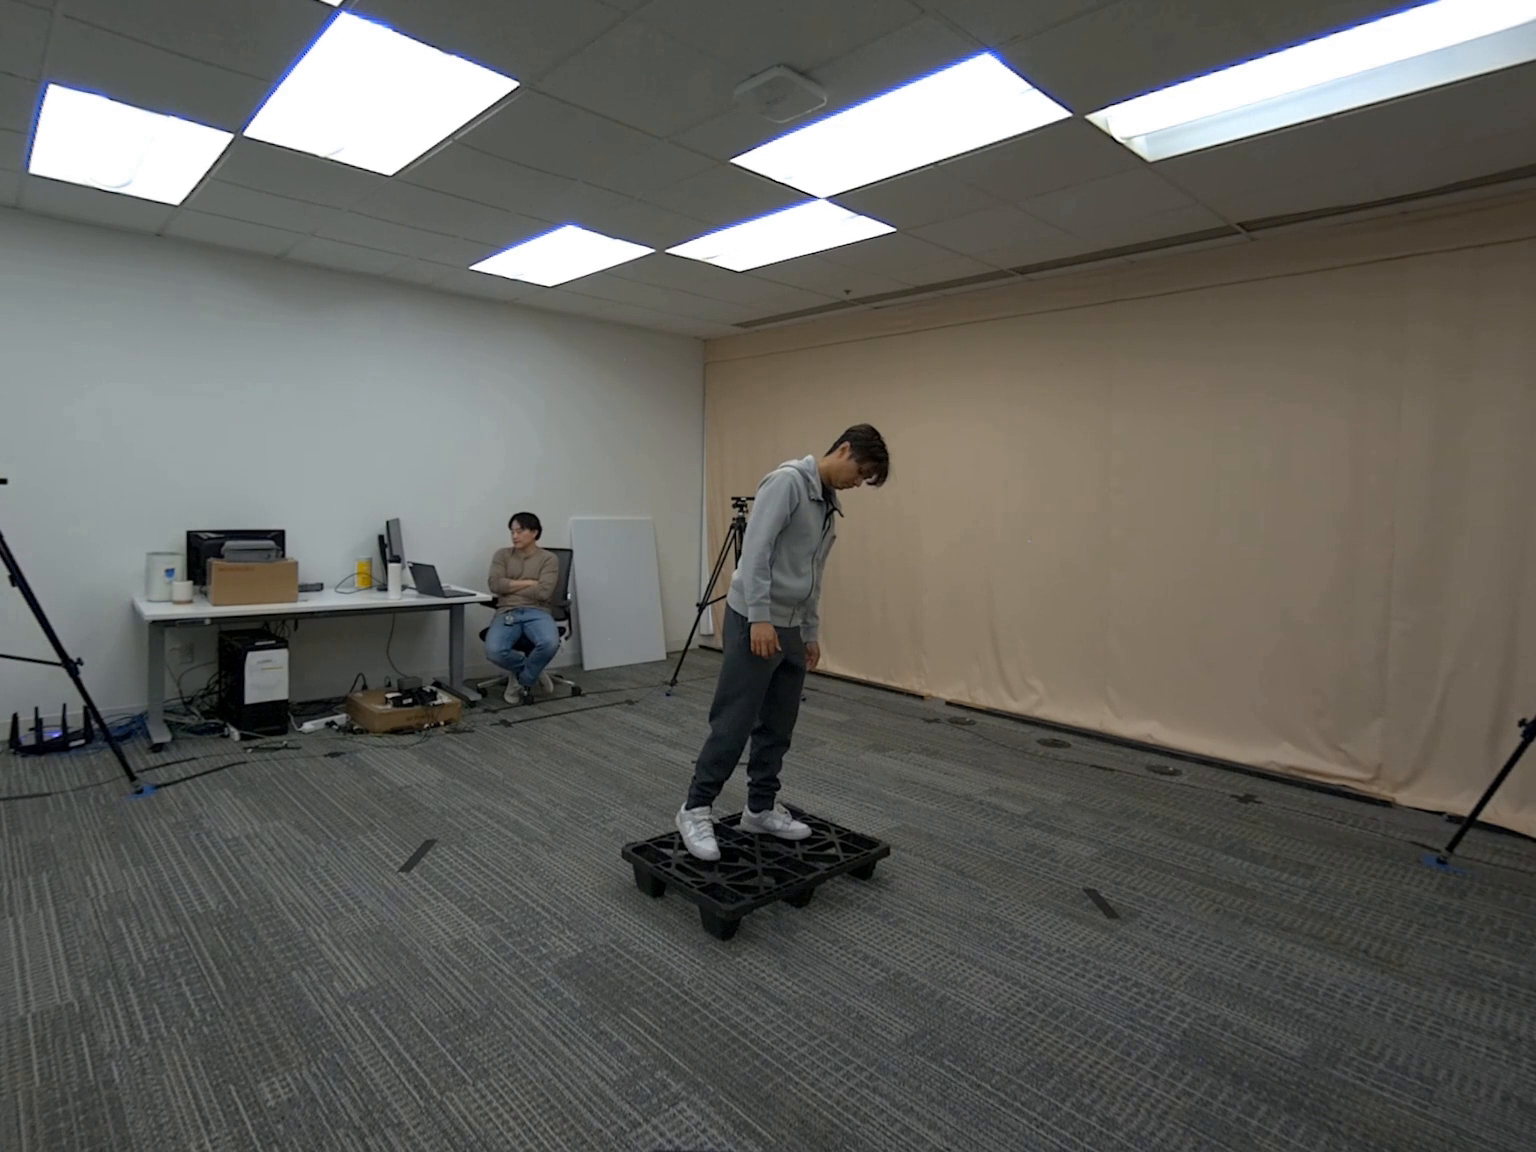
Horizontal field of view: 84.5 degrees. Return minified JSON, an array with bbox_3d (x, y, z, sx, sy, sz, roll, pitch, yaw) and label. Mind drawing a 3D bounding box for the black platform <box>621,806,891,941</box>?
[{"bbox_3d":[-0.050,1.045,3.049,0.787,0.143,0.620,-3,6,-42],"label":"black platform"}]
